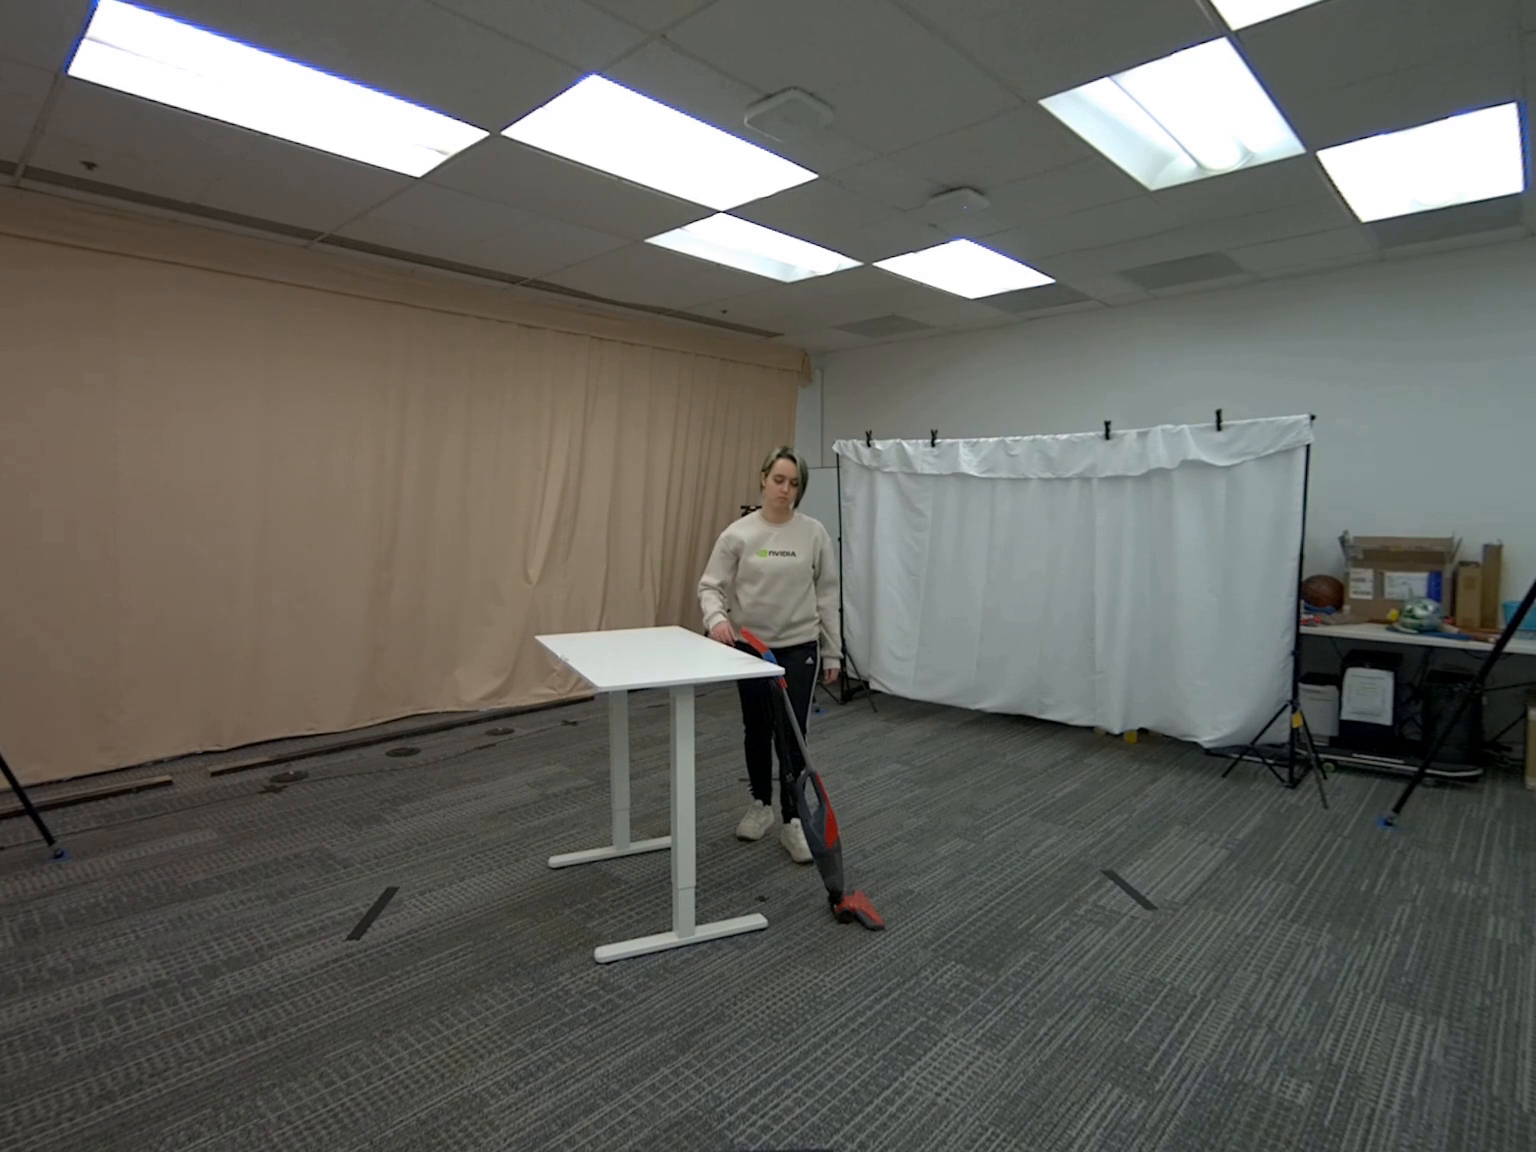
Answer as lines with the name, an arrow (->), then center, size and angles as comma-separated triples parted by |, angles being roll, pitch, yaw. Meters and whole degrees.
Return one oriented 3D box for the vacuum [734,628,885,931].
vacuum -> 0.114, 0.670, 2.814 | 0.142, 1.042, 0.257 | -23, 7, -15
